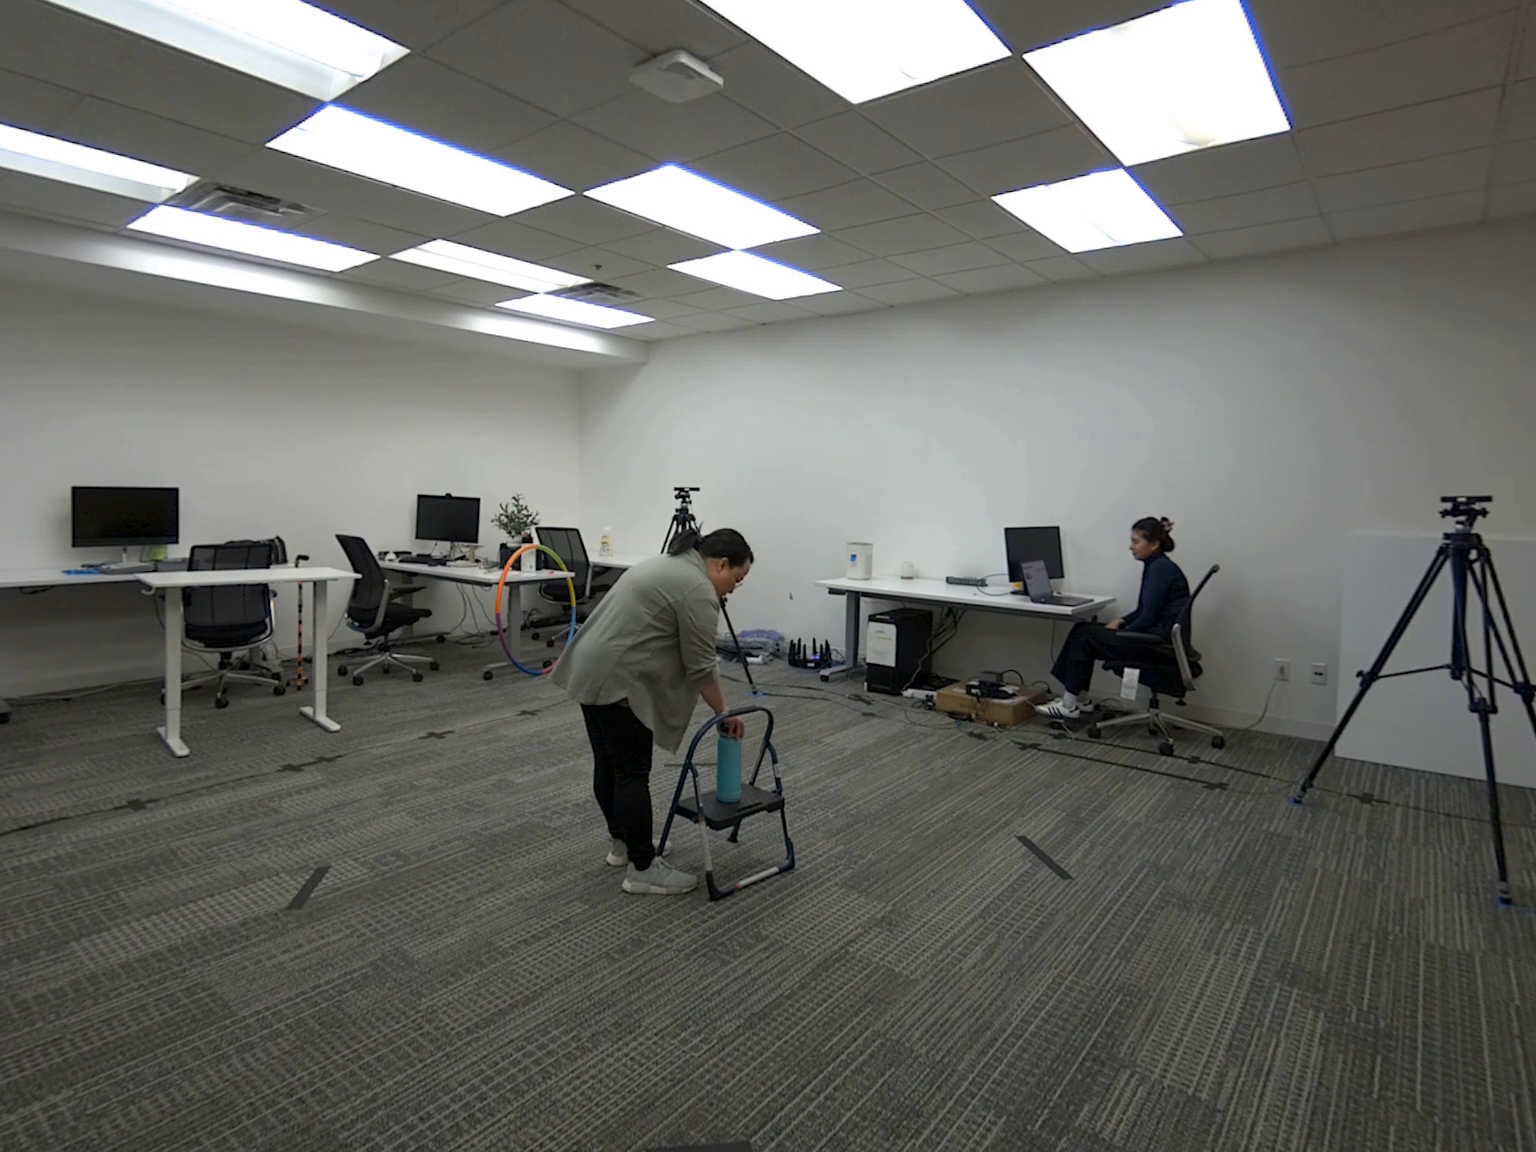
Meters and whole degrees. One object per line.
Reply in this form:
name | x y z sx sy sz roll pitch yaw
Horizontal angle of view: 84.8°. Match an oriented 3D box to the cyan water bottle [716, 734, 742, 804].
cyan water bottle | -0.156 0.673 3.090 0.092 0.283 0.093 1 3 -2
